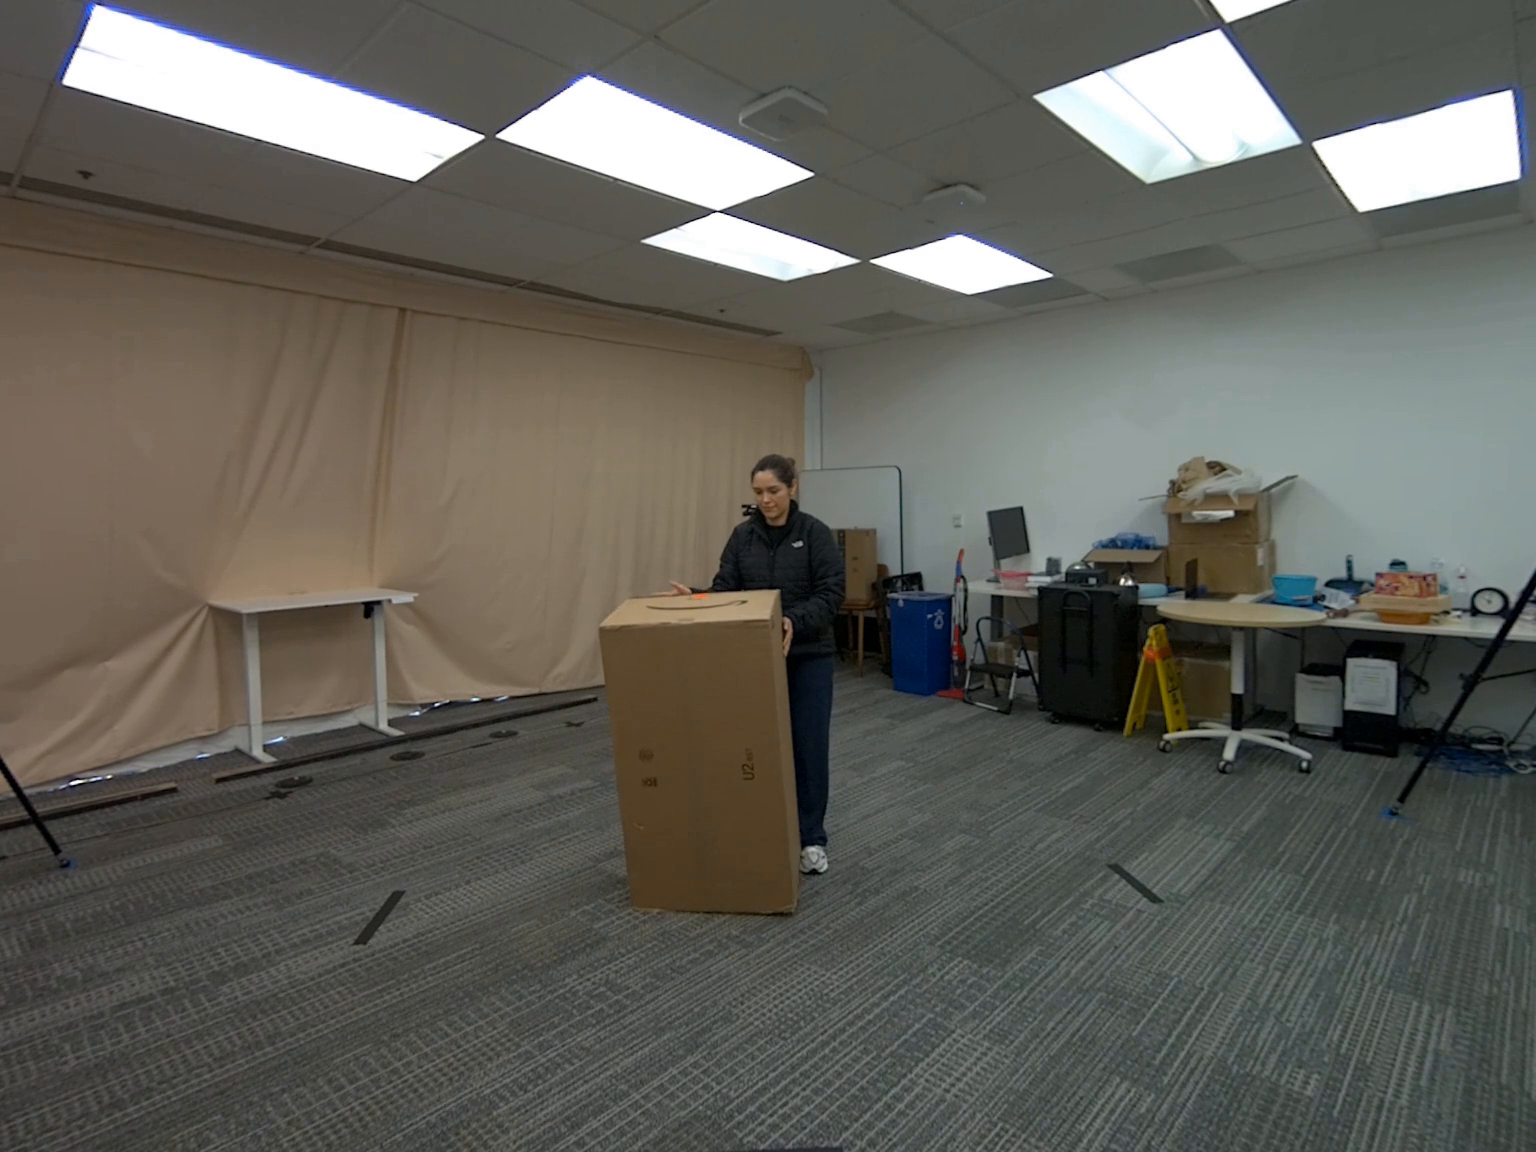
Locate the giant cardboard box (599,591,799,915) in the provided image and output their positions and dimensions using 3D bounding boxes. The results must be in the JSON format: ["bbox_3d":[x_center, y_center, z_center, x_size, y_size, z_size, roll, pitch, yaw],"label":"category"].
[{"bbox_3d":[-0.212,0.610,3.001,0.583,1.019,0.425,-4,10,8],"label":"giant cardboard box"}]
